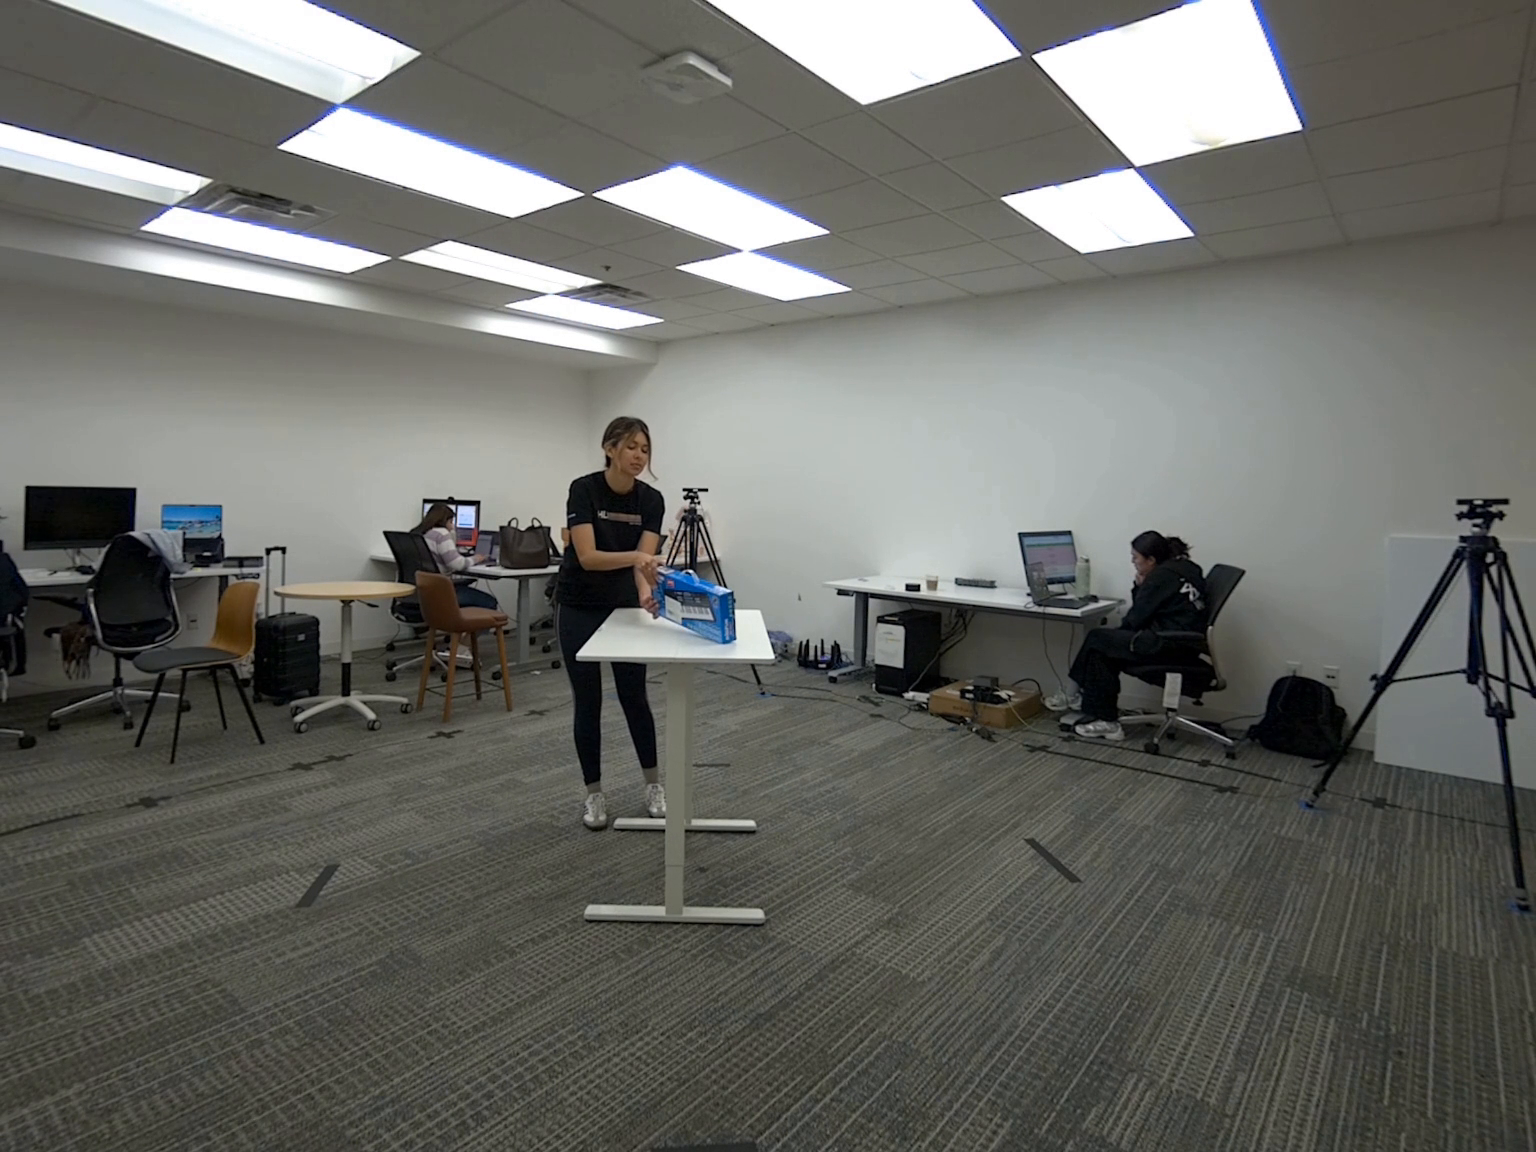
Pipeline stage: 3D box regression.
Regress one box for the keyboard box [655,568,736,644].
[{"bbox_3d":[-0.275,0.095,2.941,0.058,0.173,0.453,-12,18,-36],"label":"keyboard box"}]
